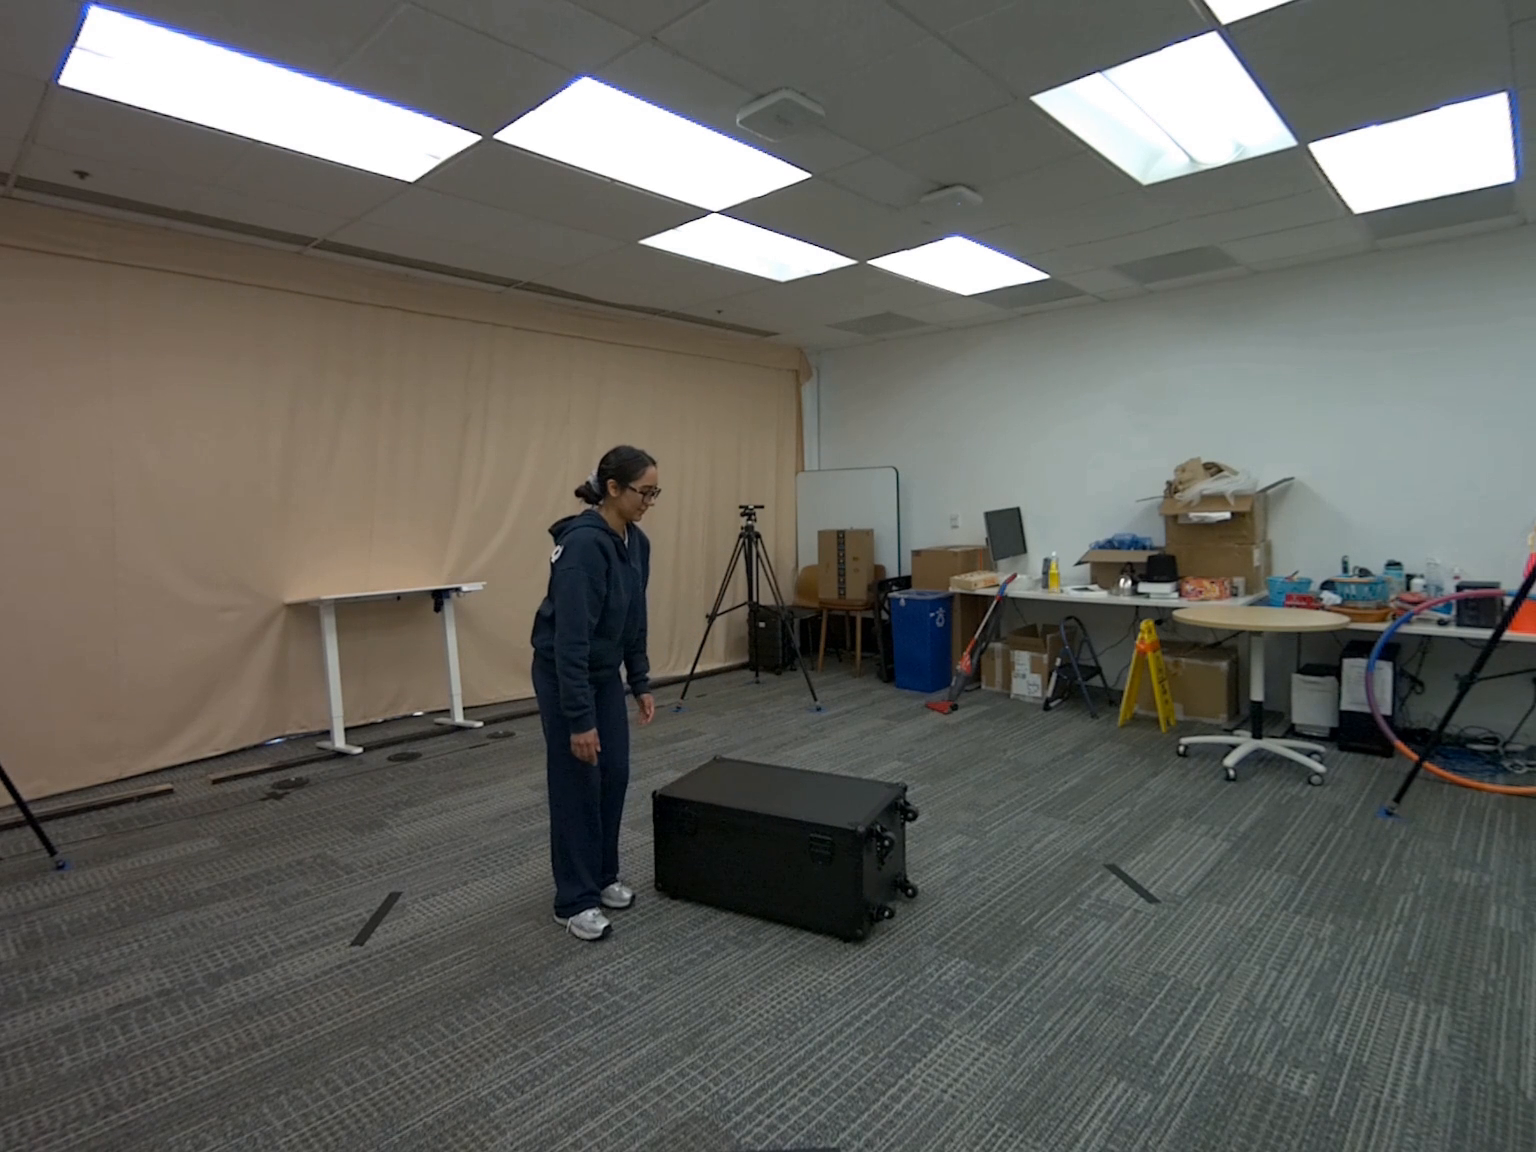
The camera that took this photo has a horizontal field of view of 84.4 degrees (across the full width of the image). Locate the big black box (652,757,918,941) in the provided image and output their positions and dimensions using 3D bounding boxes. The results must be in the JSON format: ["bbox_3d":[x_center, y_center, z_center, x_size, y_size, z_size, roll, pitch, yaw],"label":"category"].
[{"bbox_3d":[0.078,0.945,3.002,0.884,0.395,0.509,1,4,27],"label":"big black box"}]
